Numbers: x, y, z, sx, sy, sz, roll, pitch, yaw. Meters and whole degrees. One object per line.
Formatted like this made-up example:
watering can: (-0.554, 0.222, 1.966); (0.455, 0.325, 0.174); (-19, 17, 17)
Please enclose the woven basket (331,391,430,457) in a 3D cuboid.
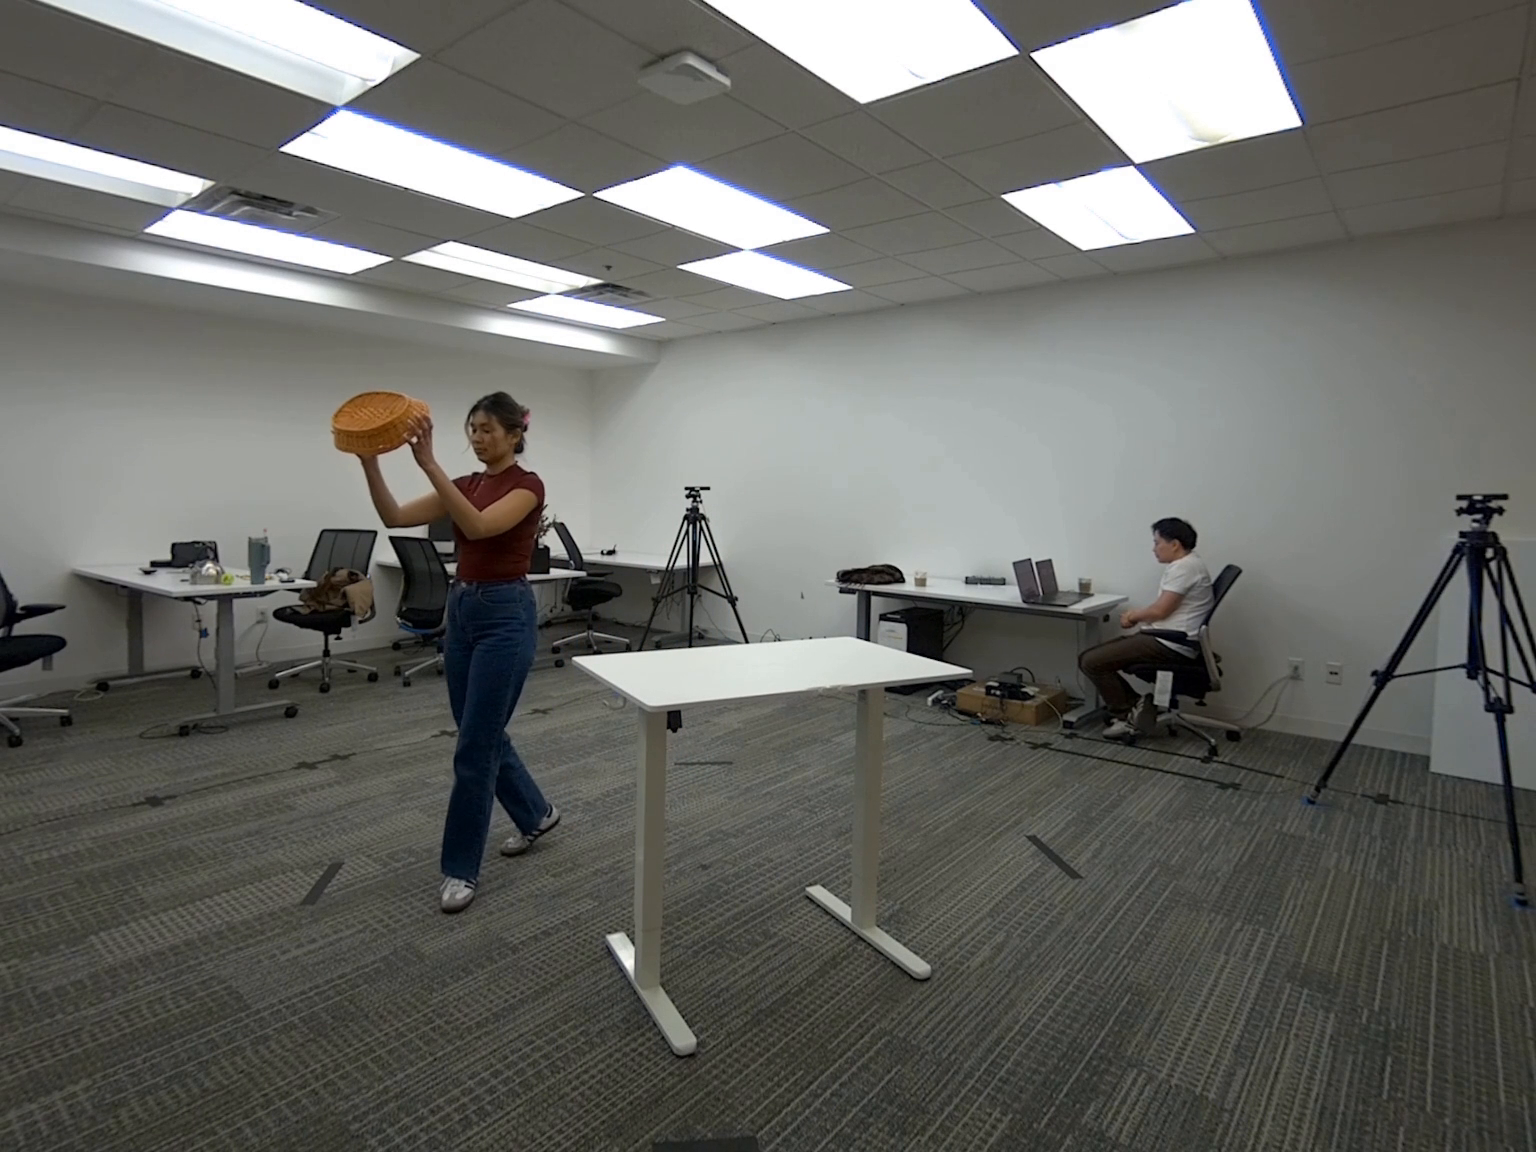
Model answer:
woven basket: (-1.187, -0.478, 2.570); (0.360, 0.255, 0.070); (7, -37, 26)
